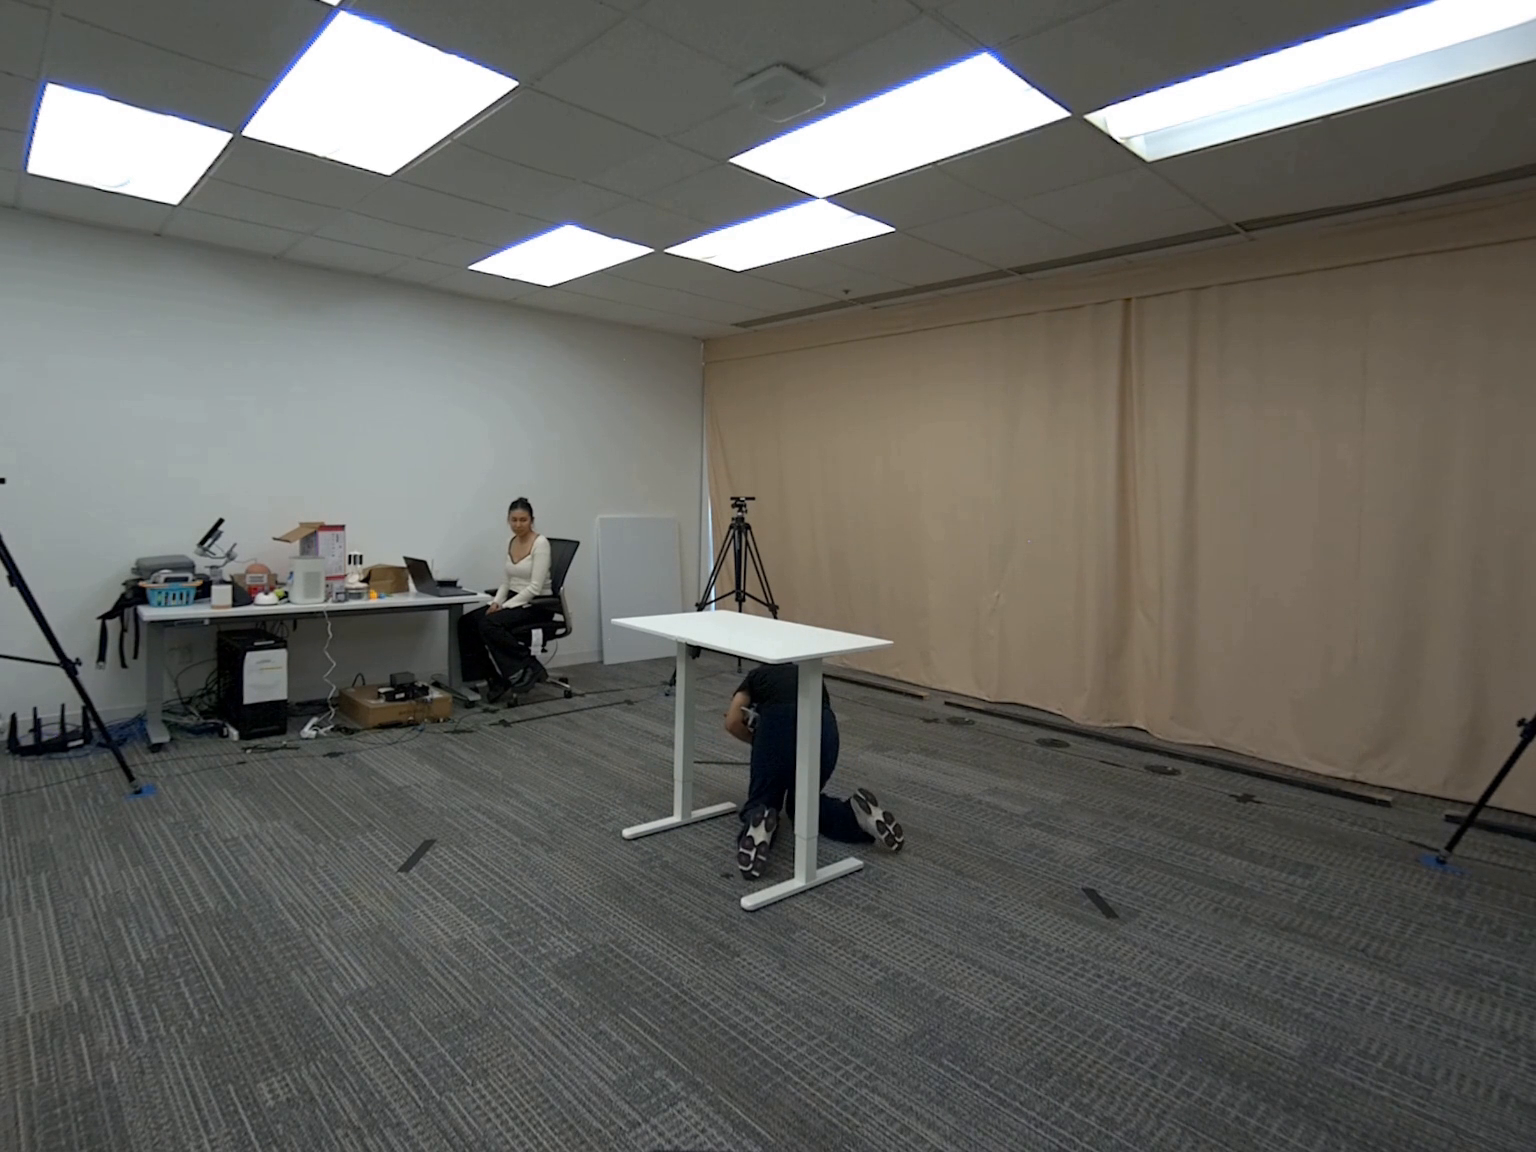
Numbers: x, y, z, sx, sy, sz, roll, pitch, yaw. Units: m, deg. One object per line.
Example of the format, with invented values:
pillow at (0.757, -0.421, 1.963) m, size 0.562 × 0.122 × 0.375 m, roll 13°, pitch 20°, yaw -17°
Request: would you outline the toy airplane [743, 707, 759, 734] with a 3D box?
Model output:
toy airplane at (-0.051, 0.654, 3.798) m, size 0.246 × 0.158 × 0.262 m, roll 38°, pitch -33°, yaw -19°
